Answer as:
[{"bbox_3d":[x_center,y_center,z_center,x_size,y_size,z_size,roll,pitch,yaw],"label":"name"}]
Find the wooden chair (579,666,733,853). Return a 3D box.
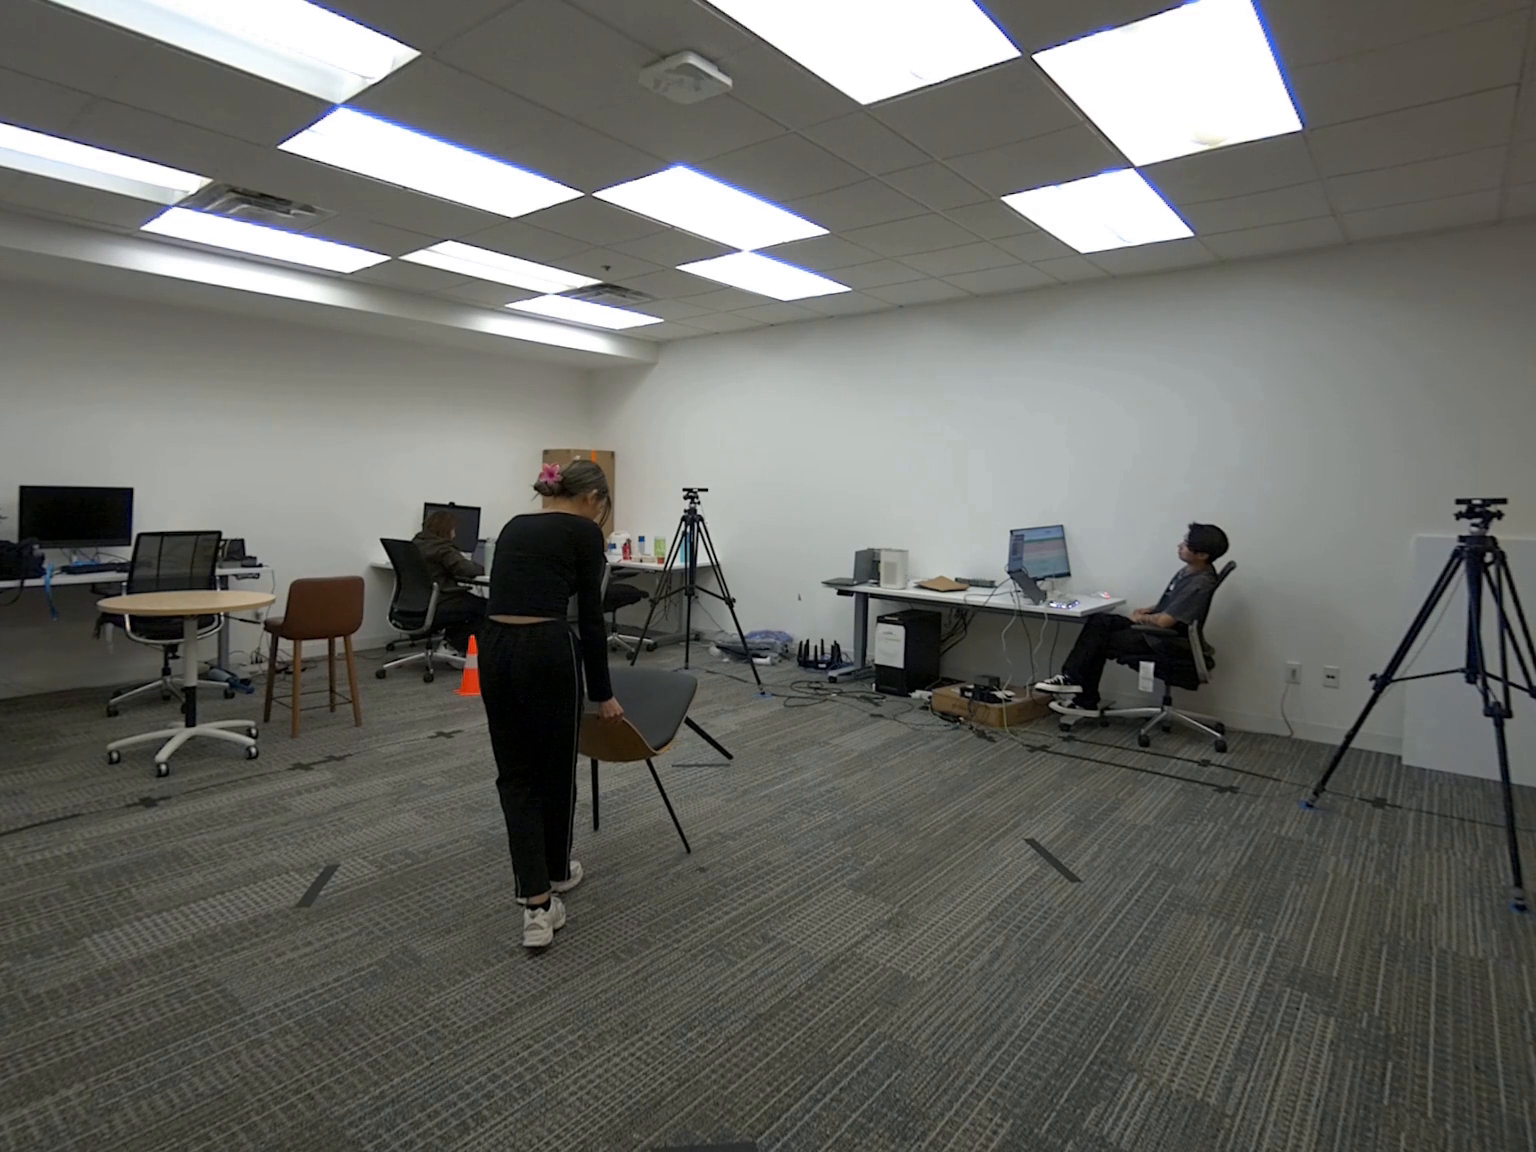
[{"bbox_3d":[-0.529,0.565,3.256,0.491,0.845,0.529,3,45,27],"label":"wooden chair"}]
